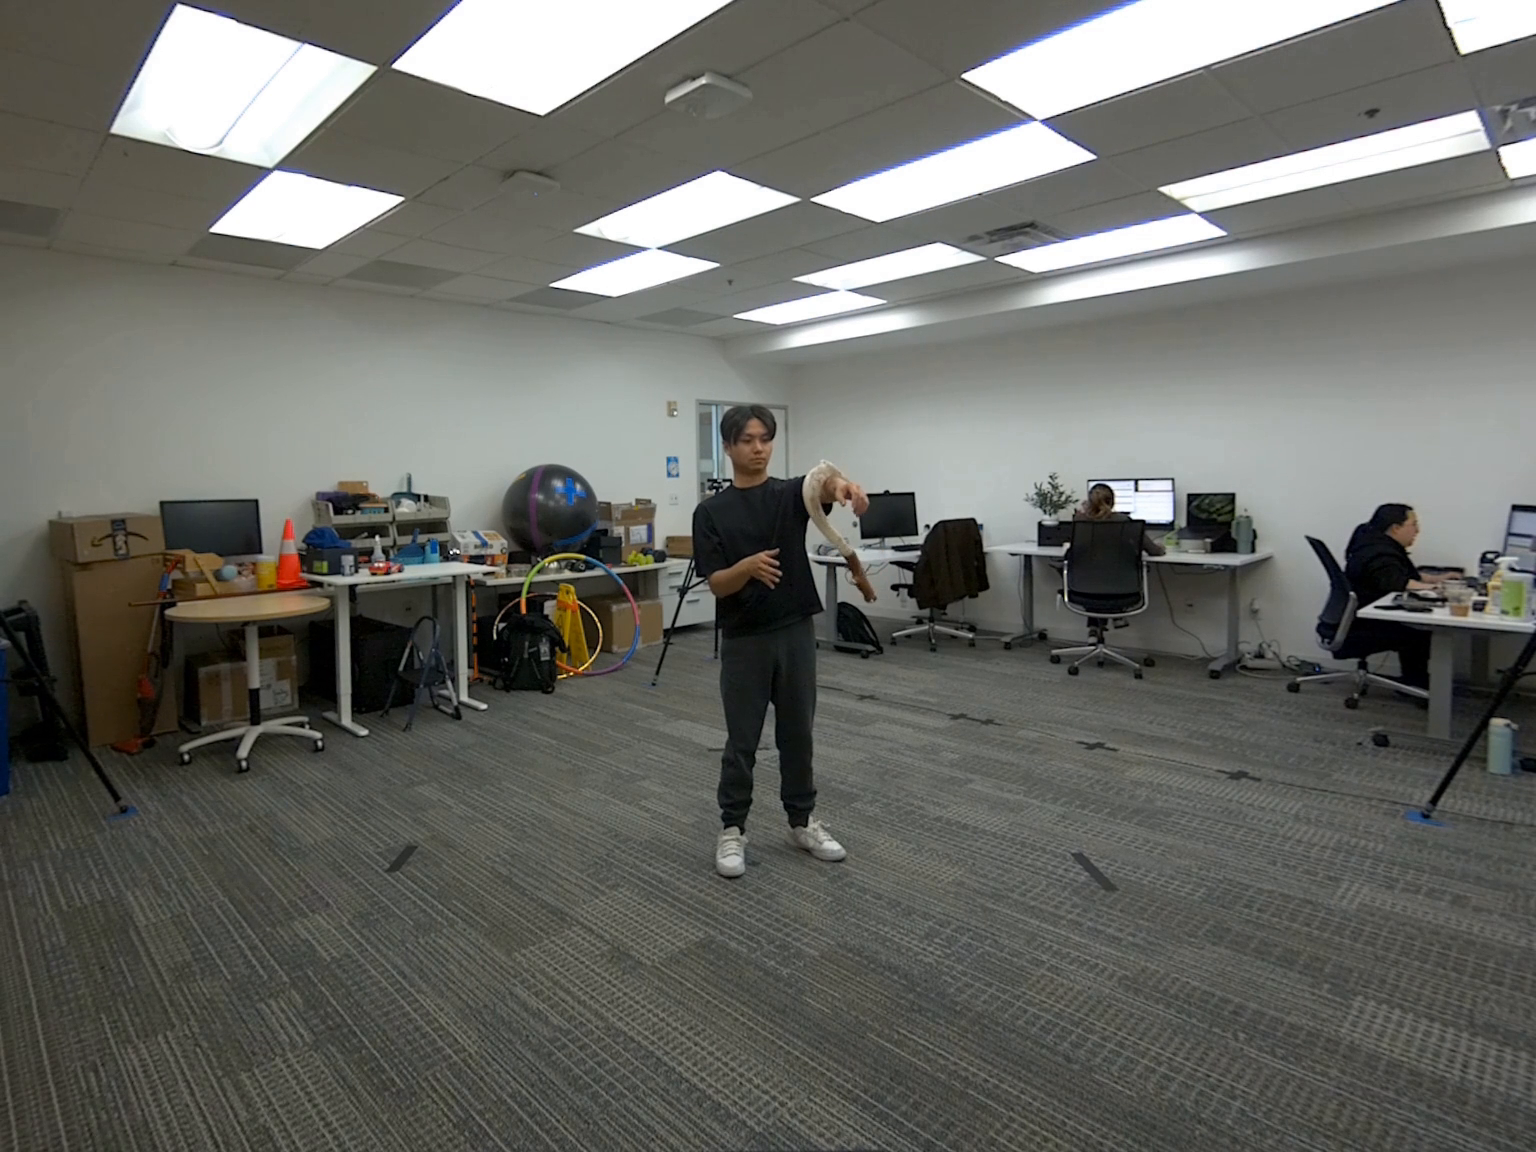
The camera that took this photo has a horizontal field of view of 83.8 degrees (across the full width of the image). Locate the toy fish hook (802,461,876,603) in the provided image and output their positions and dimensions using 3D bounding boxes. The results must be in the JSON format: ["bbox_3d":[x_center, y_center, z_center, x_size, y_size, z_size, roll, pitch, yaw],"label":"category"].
[{"bbox_3d":[0.261,-0.147,2.820,0.049,0.494,0.224,-2,34,51],"label":"toy fish hook"}]
